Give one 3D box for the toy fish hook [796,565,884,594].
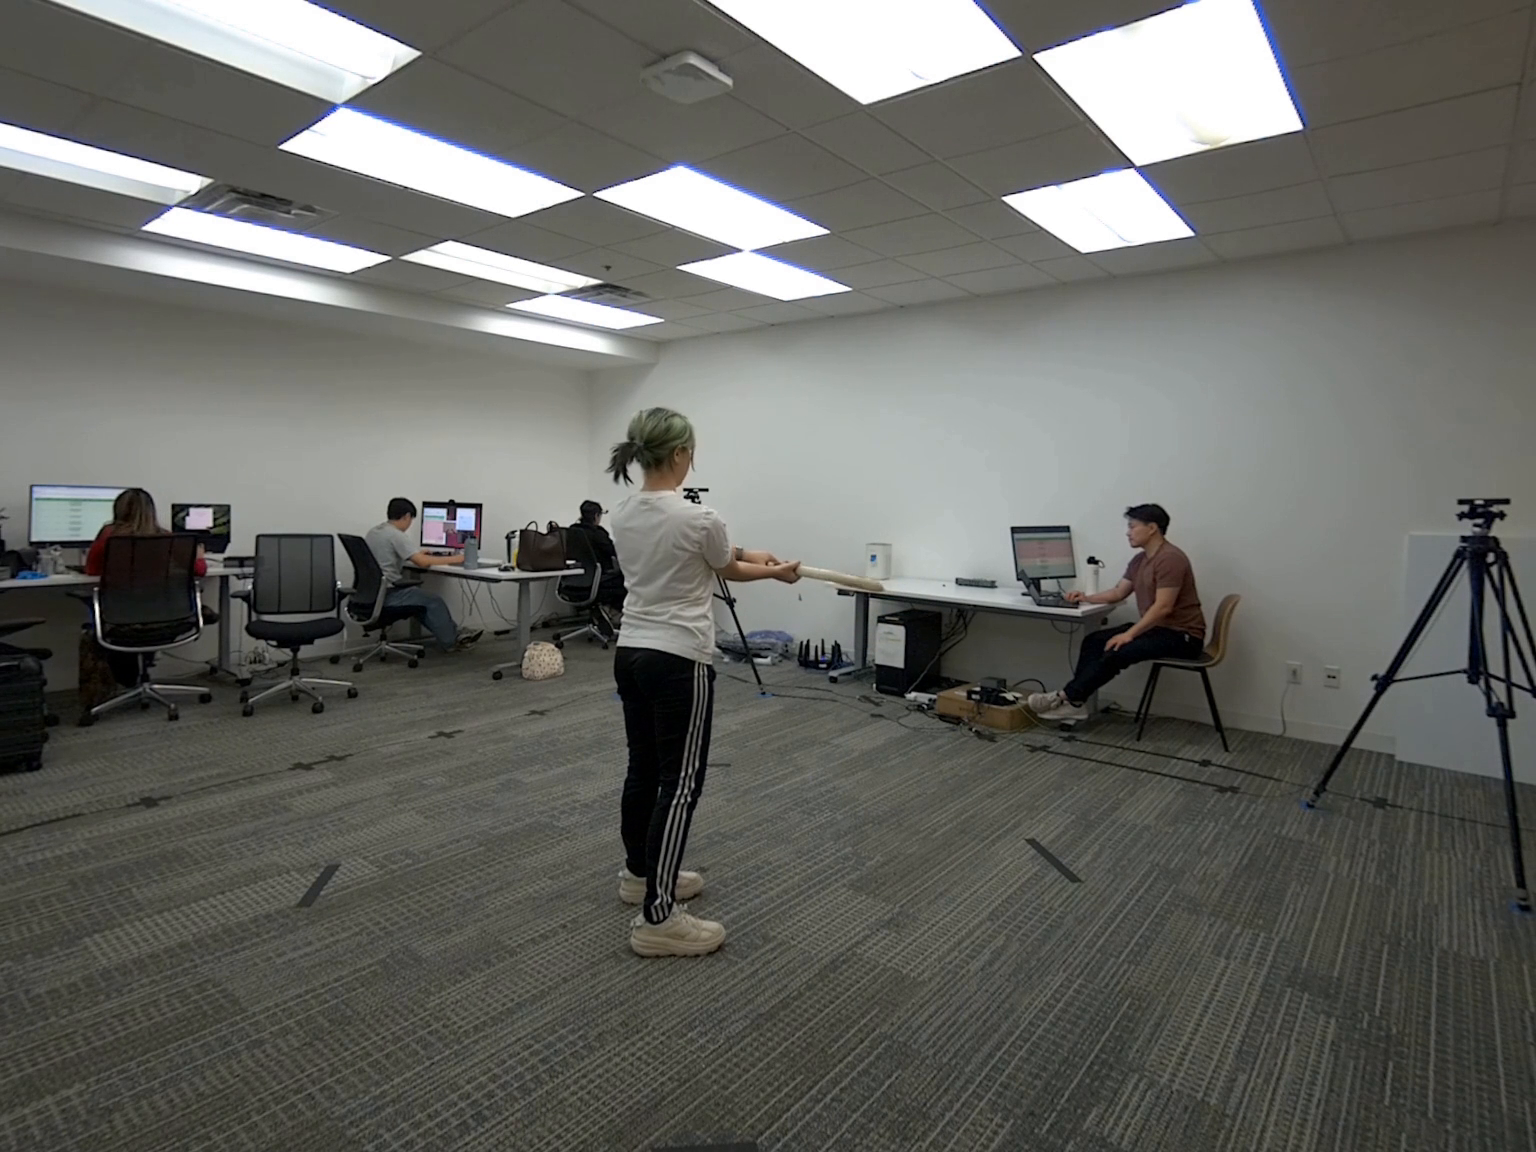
[{"bbox_3d":[0.144,-0.004,3.074,0.518,0.048,0.219,11,-4,18],"label":"toy fish hook"}]
